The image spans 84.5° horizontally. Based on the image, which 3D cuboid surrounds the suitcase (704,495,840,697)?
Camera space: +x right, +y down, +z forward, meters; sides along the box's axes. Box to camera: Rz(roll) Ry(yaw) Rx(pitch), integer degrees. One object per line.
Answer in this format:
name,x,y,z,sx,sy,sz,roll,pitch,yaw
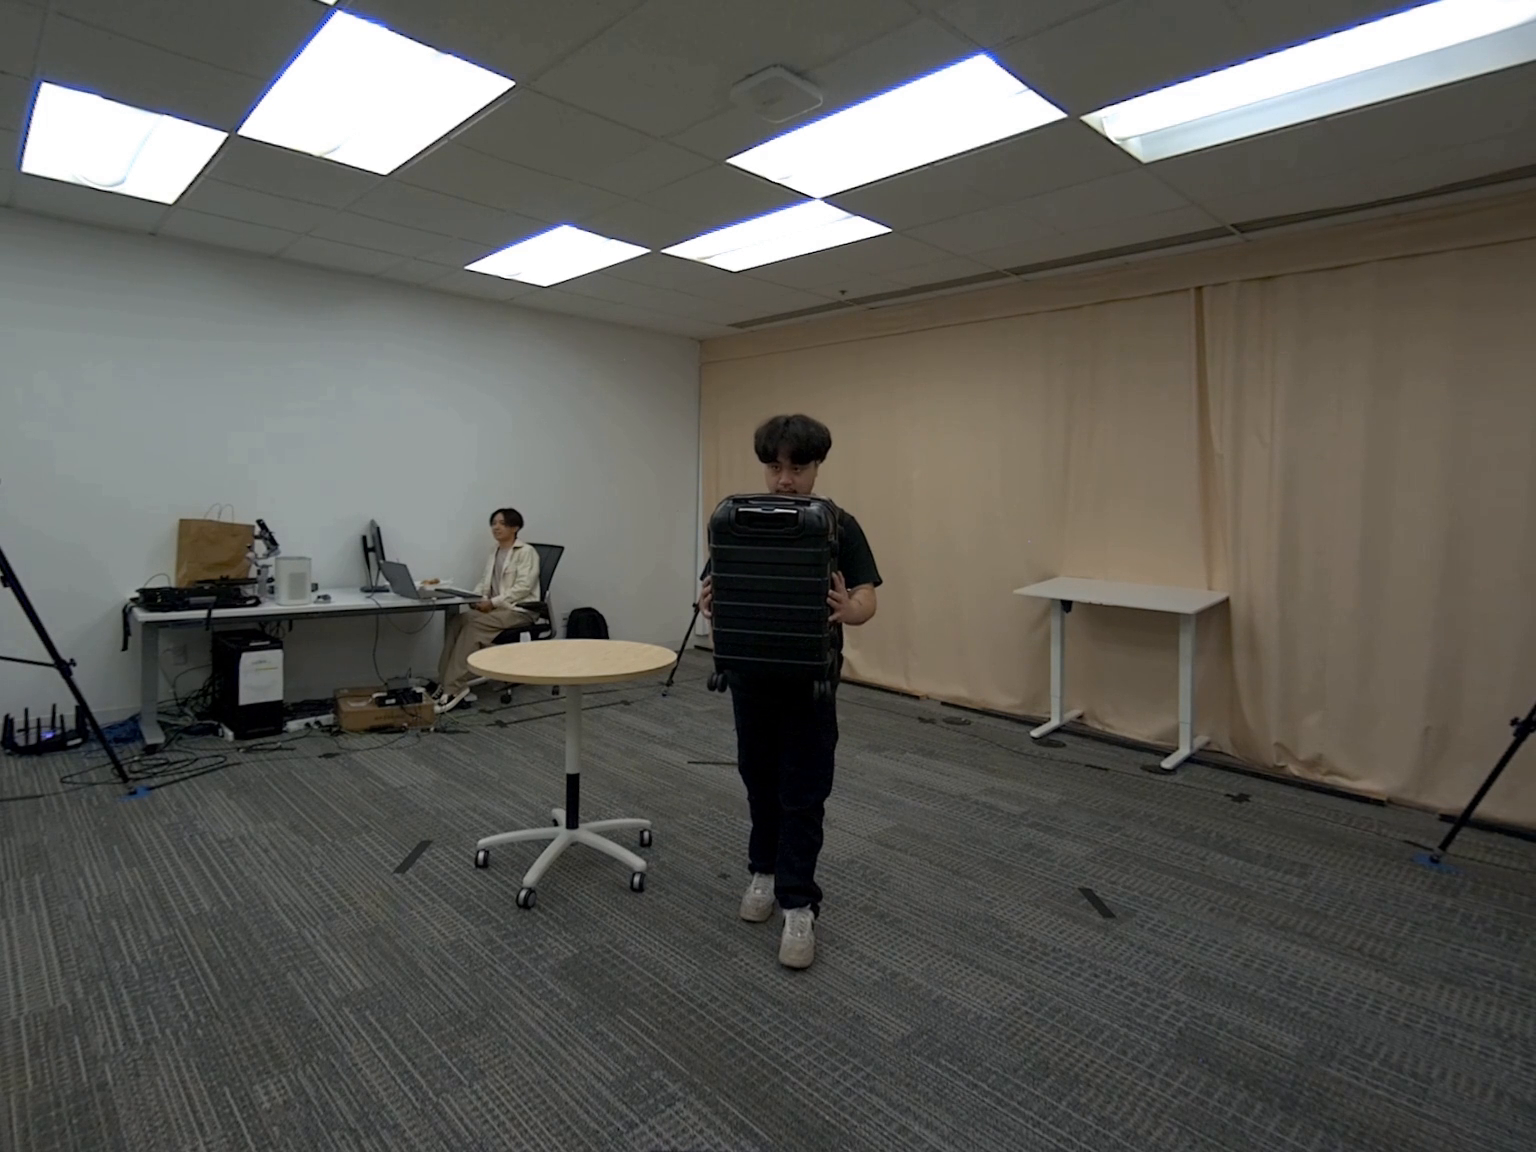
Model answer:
suitcase,0.016,0.036,2.403,0.380,0.544,0.247,3,12,15
